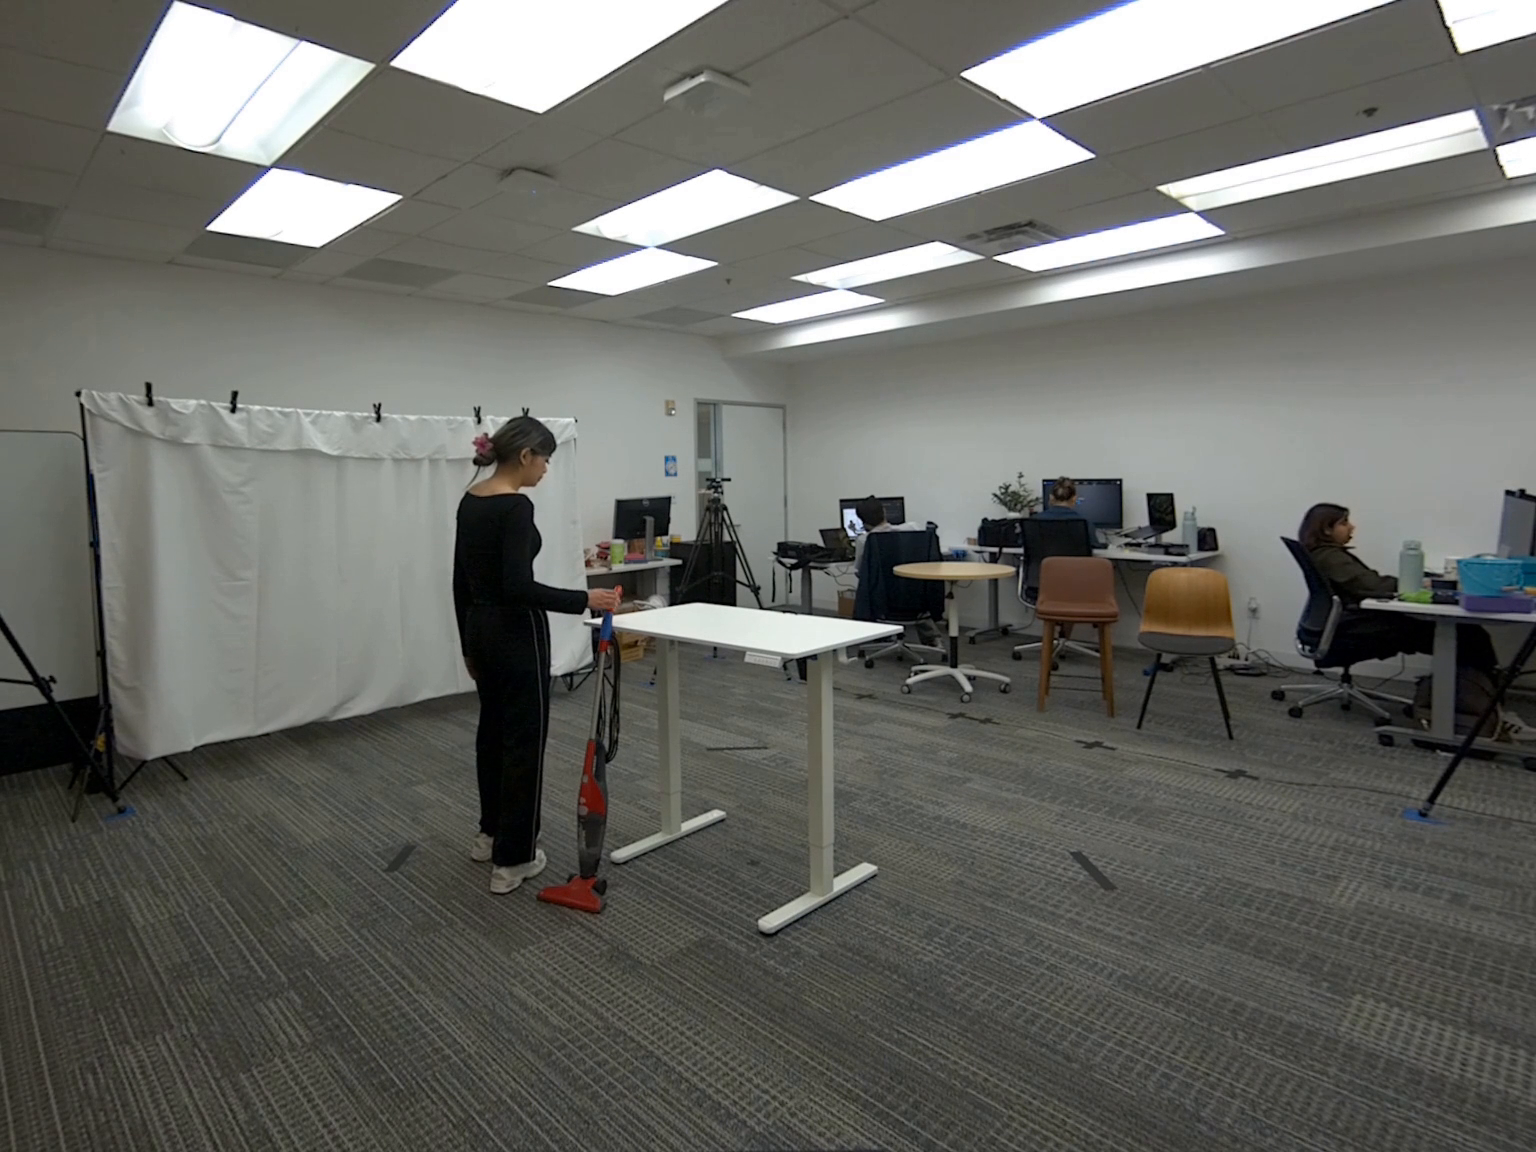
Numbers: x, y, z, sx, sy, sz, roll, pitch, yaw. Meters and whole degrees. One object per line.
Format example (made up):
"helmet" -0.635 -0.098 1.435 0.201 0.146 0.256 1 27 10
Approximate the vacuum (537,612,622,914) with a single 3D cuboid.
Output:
"vacuum" -0.588 0.567 2.971 0.259 1.059 0.139 -2 -14 34
